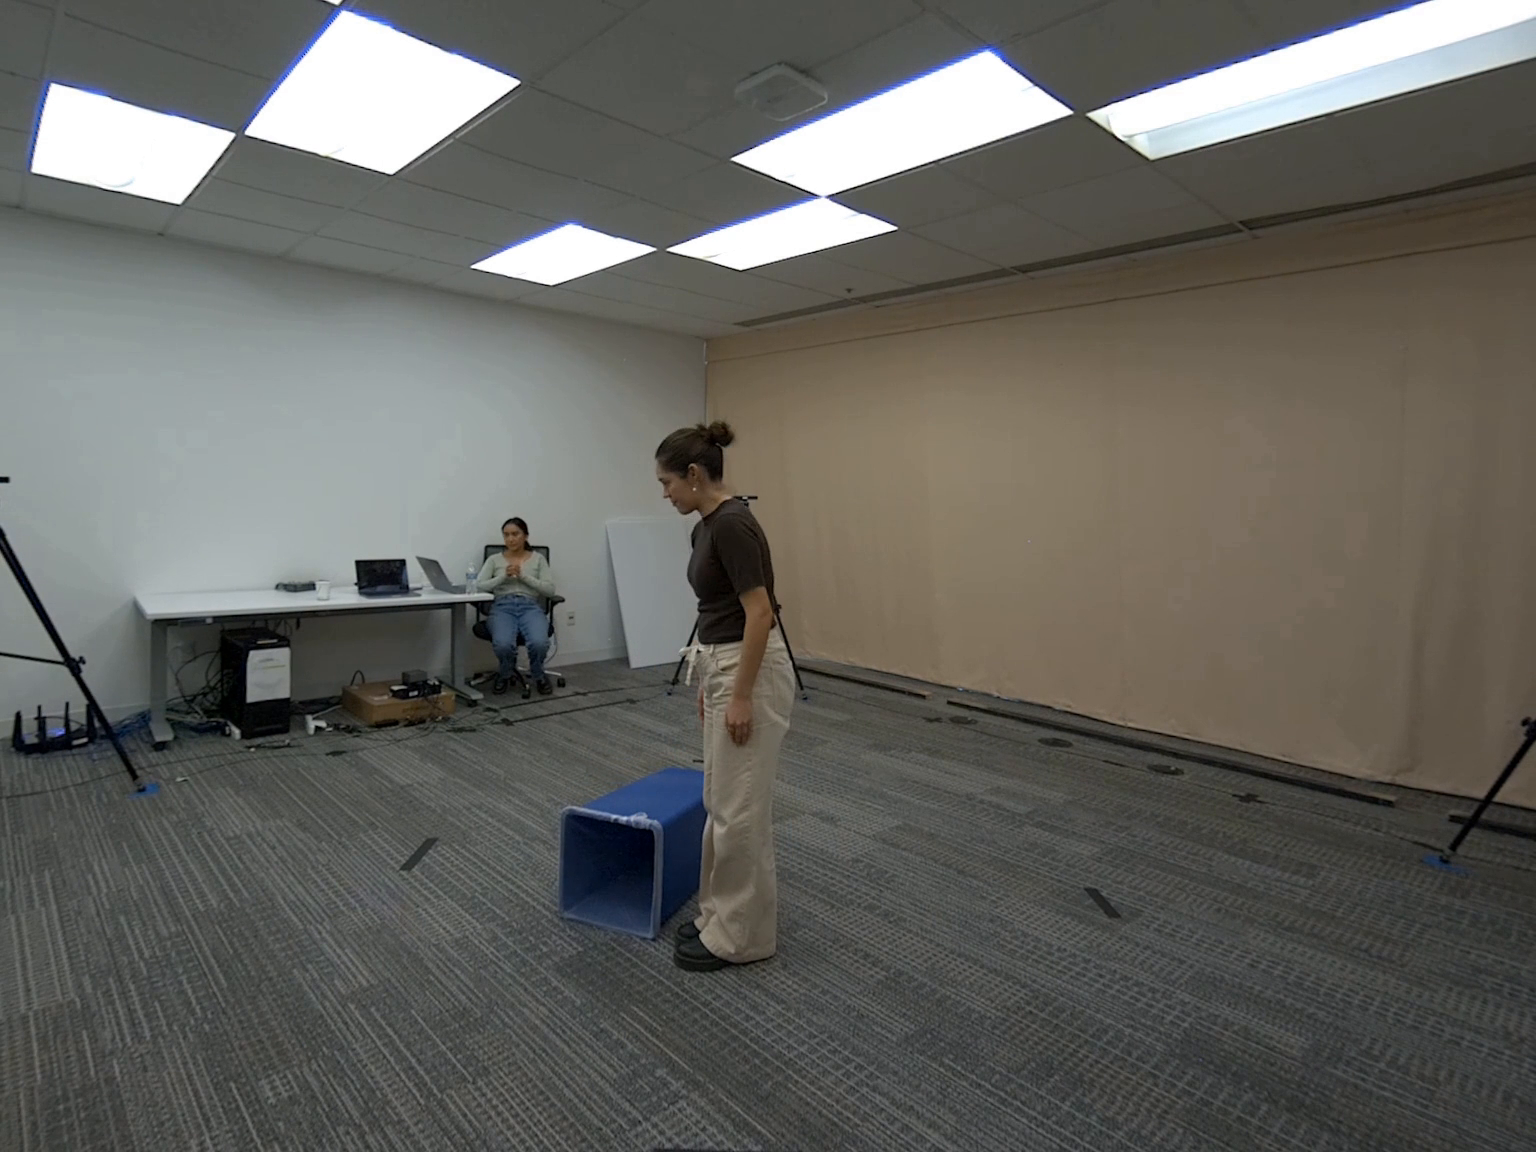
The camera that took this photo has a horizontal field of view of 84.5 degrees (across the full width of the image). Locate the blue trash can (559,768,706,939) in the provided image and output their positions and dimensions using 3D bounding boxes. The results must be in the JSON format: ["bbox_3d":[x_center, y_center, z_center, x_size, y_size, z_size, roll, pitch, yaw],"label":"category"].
[{"bbox_3d":[-0.393,0.937,3.011,0.385,0.374,0.701,3,2,22],"label":"blue trash can"}]
